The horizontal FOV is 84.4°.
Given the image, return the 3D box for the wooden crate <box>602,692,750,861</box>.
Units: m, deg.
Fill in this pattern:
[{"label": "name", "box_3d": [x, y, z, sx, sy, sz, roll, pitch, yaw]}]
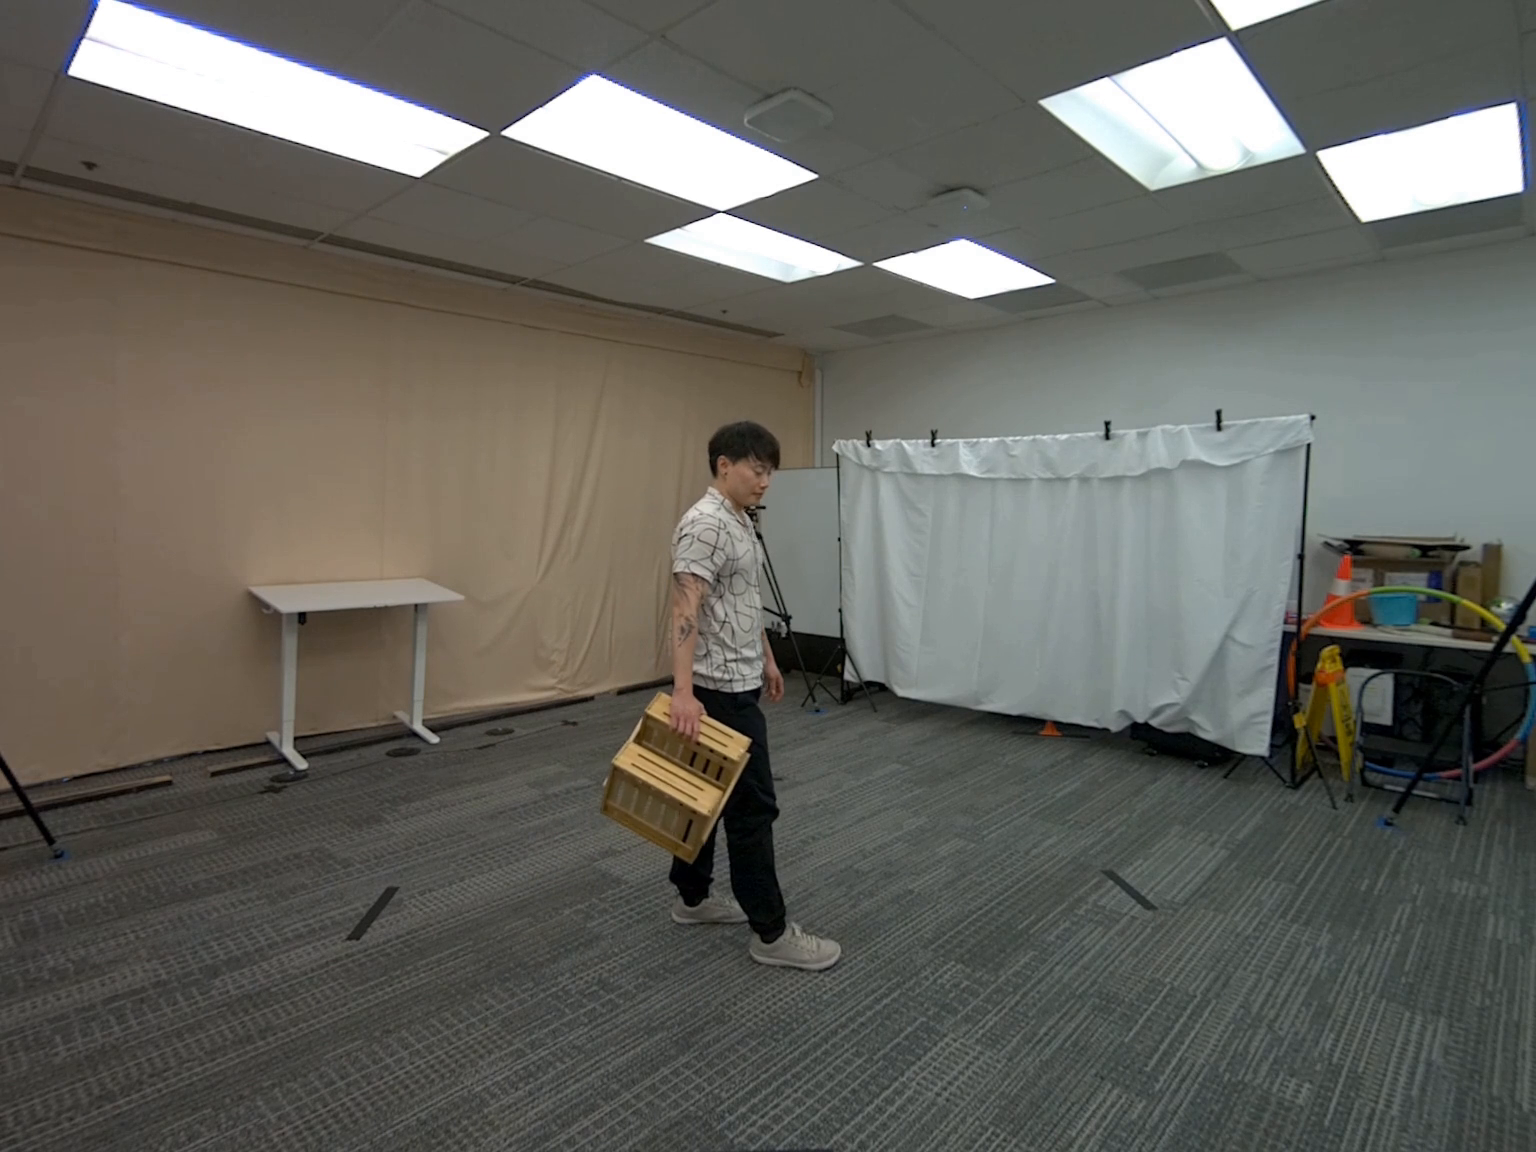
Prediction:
[{"label": "wooden crate", "box_3d": [-0.259, 0.574, 2.400, 0.329, 0.299, 0.271, 26, 39, 11]}]
